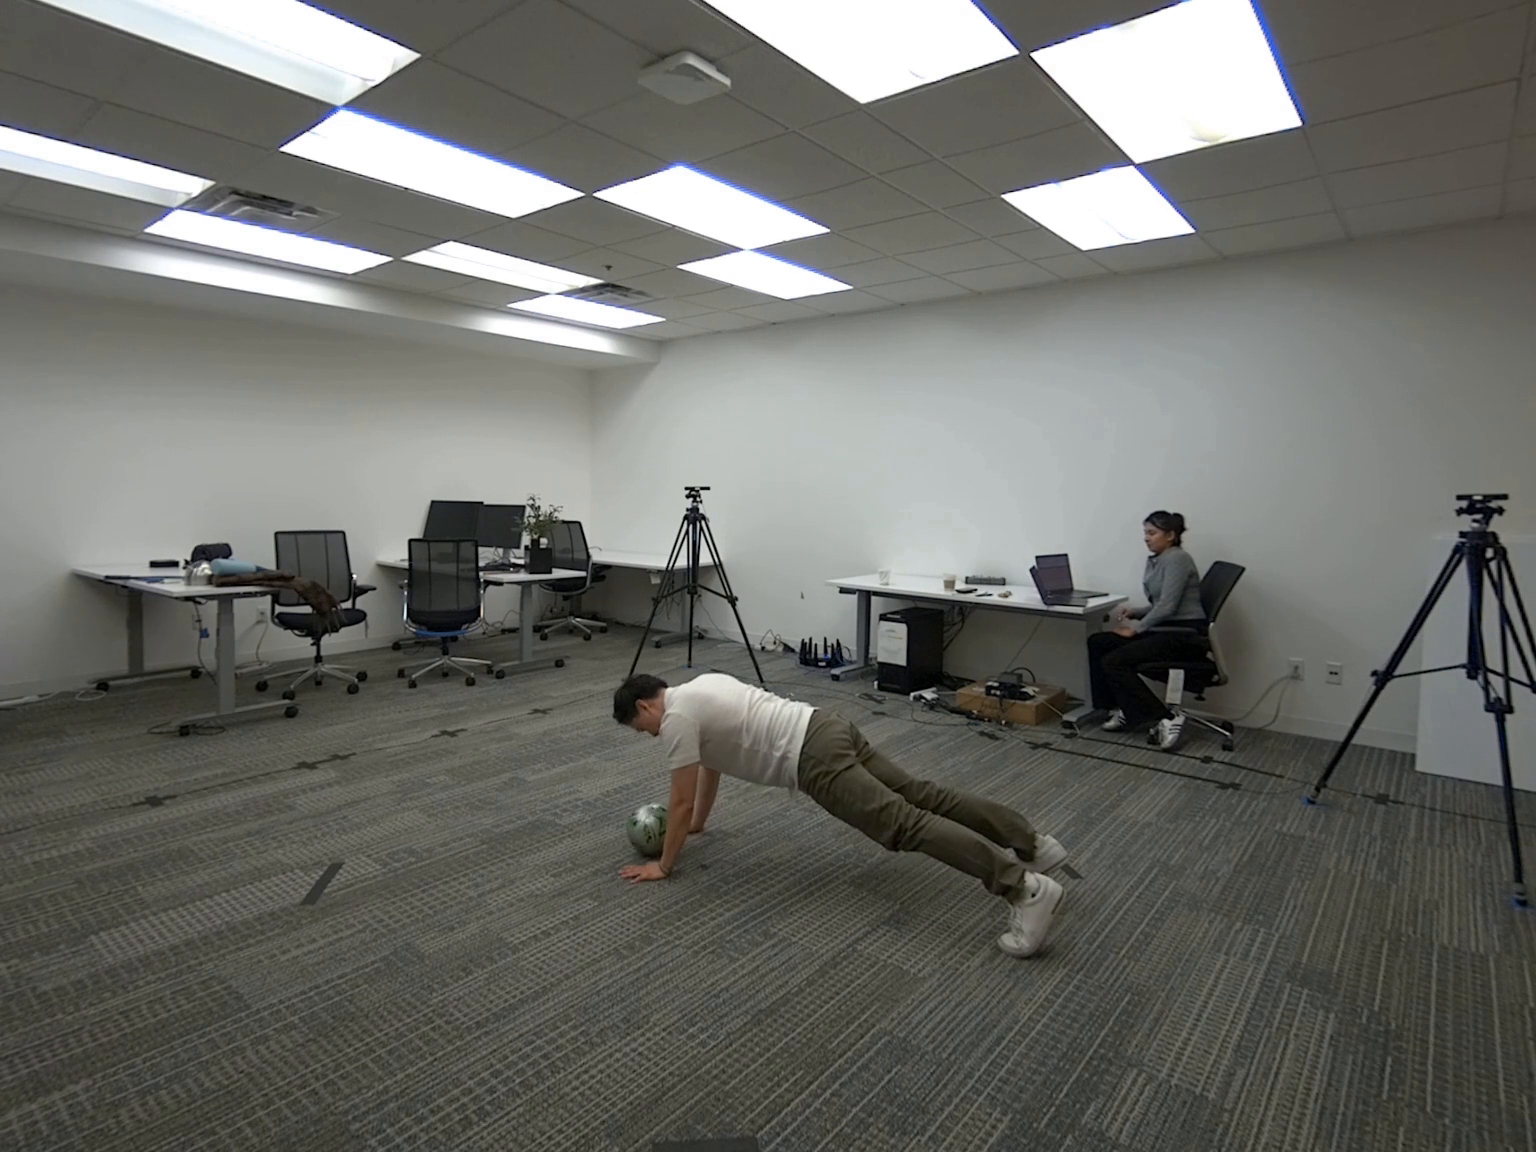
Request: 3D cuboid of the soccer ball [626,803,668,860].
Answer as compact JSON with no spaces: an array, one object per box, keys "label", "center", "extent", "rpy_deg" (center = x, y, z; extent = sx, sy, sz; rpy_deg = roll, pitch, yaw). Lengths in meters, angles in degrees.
[{"label":"soccer ball","center":[-0.451,0.957,3.231],"extent":[0.187,0.187,0.188],"rpy_deg":[1,4,-2]}]
